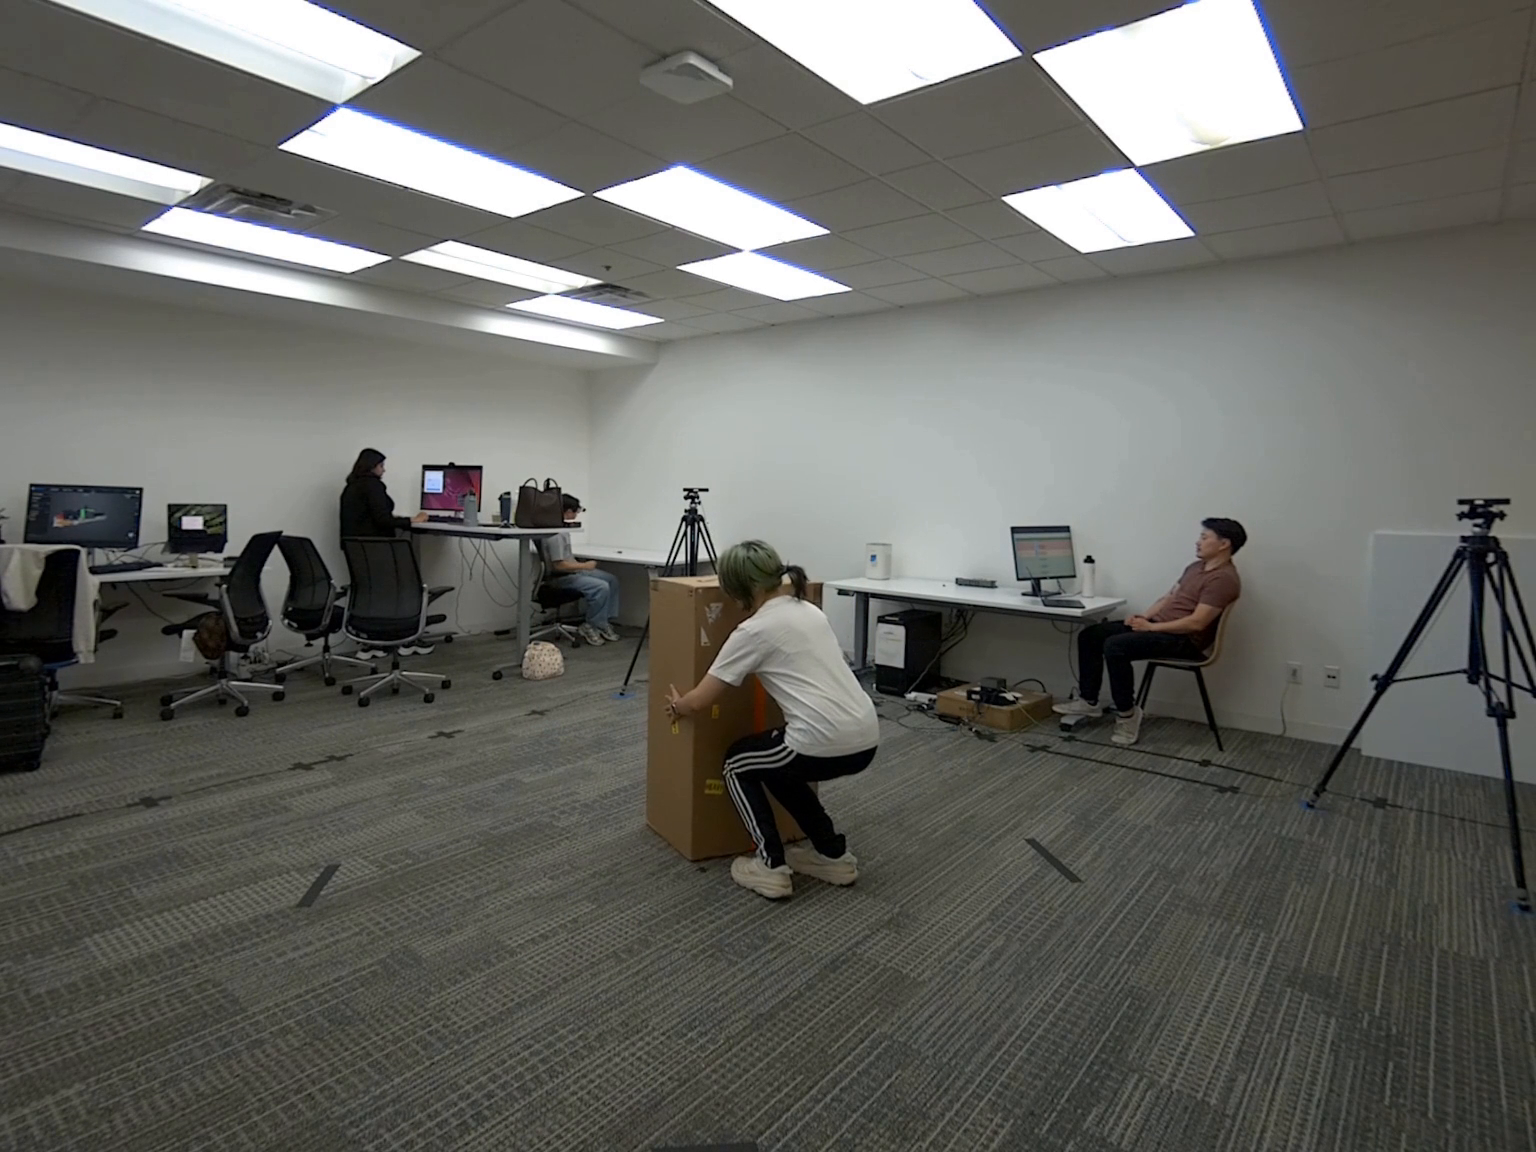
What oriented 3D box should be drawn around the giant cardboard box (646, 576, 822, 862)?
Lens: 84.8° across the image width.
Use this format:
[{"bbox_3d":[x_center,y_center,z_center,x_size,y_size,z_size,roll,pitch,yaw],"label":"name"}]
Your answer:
[{"bbox_3d":[-0.155,0.522,3.459,0.568,1.026,0.460,0,2,-31],"label":"giant cardboard box"}]
